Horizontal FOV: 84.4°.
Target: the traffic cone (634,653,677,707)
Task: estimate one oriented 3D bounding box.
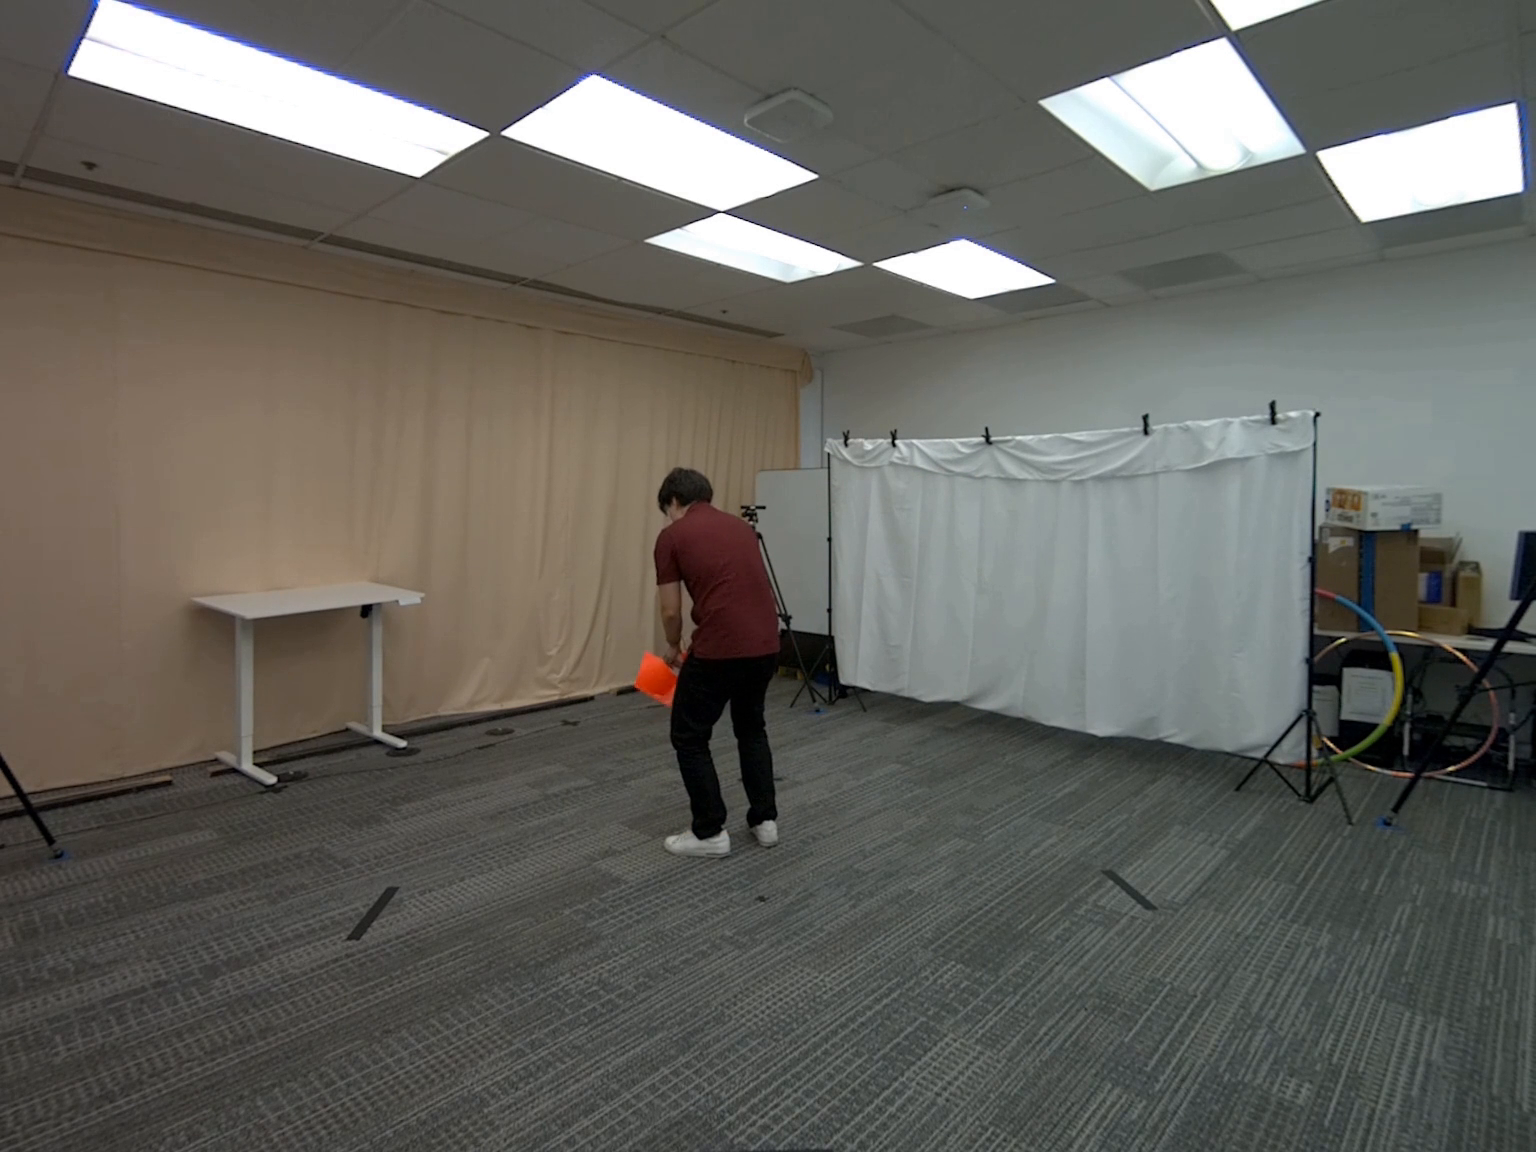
[{"bbox_3d":[-0.399,0.378,3.689,0.201,0.205,0.388,30,-43,-18],"label":"traffic cone"}]
